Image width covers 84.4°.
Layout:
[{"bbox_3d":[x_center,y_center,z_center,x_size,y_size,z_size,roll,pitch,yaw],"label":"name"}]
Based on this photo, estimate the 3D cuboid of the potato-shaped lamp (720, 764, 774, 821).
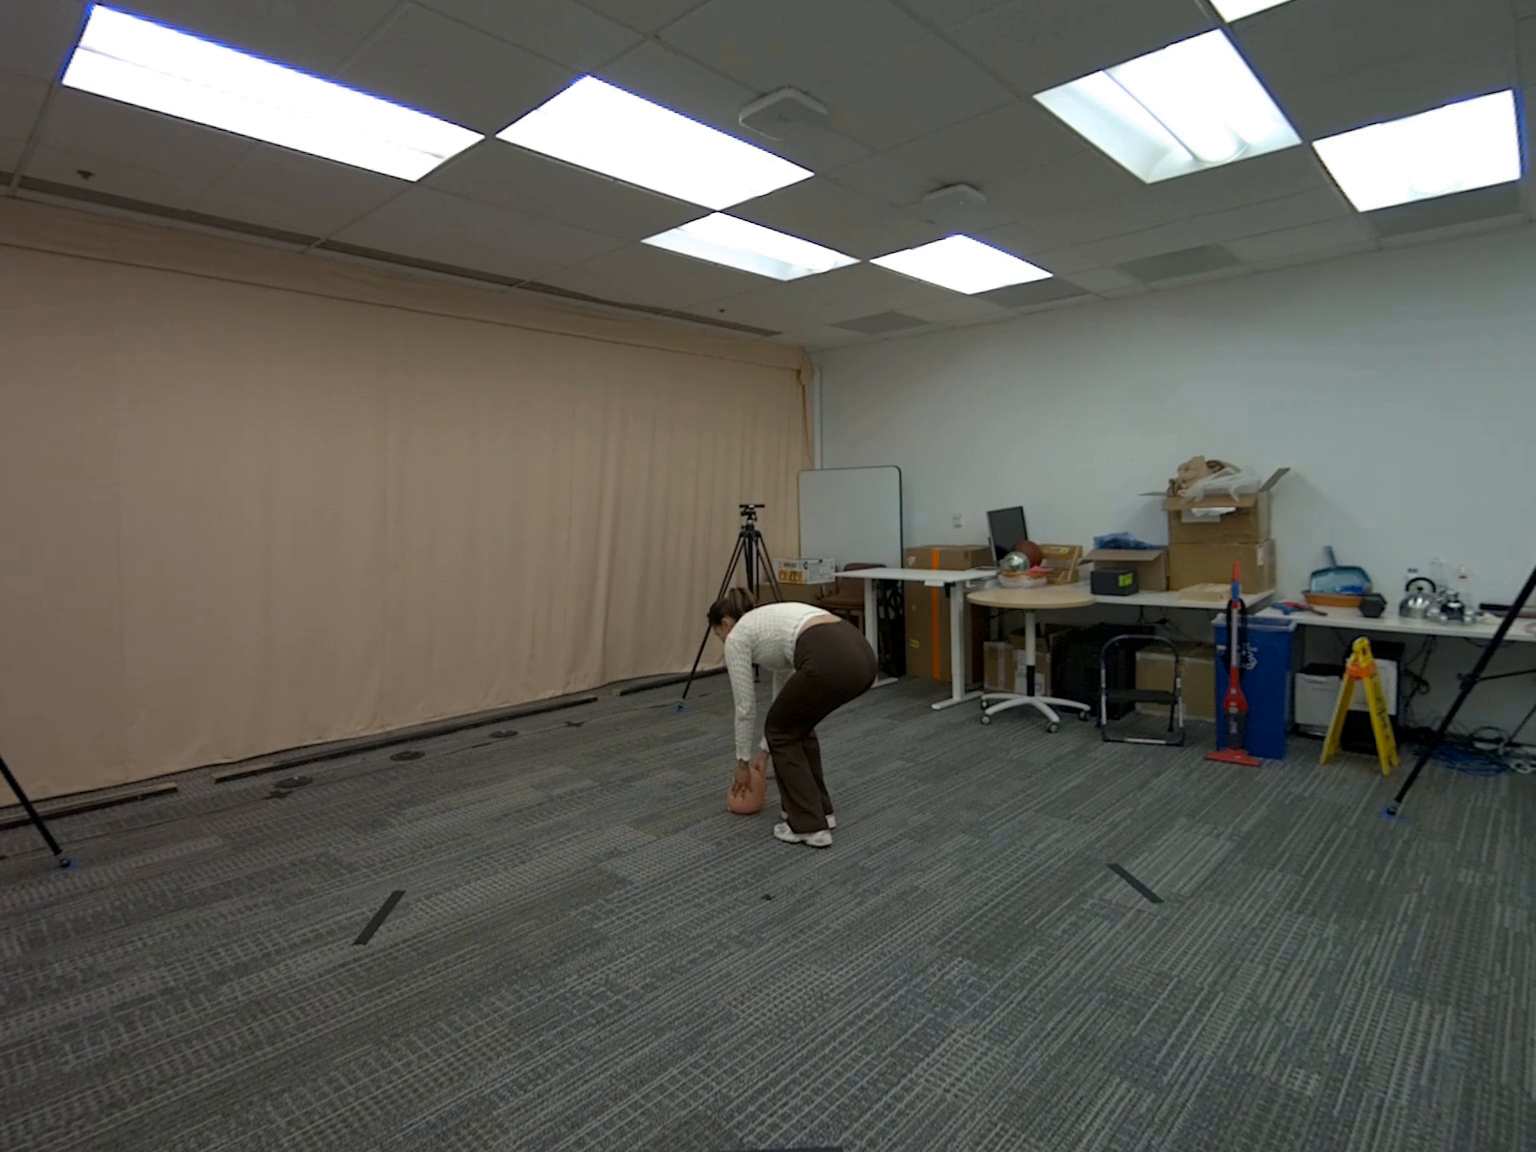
[{"bbox_3d":[-0.097,0.968,3.832,0.176,0.198,0.160,-1,0,32],"label":"potato-shaped lamp"}]
